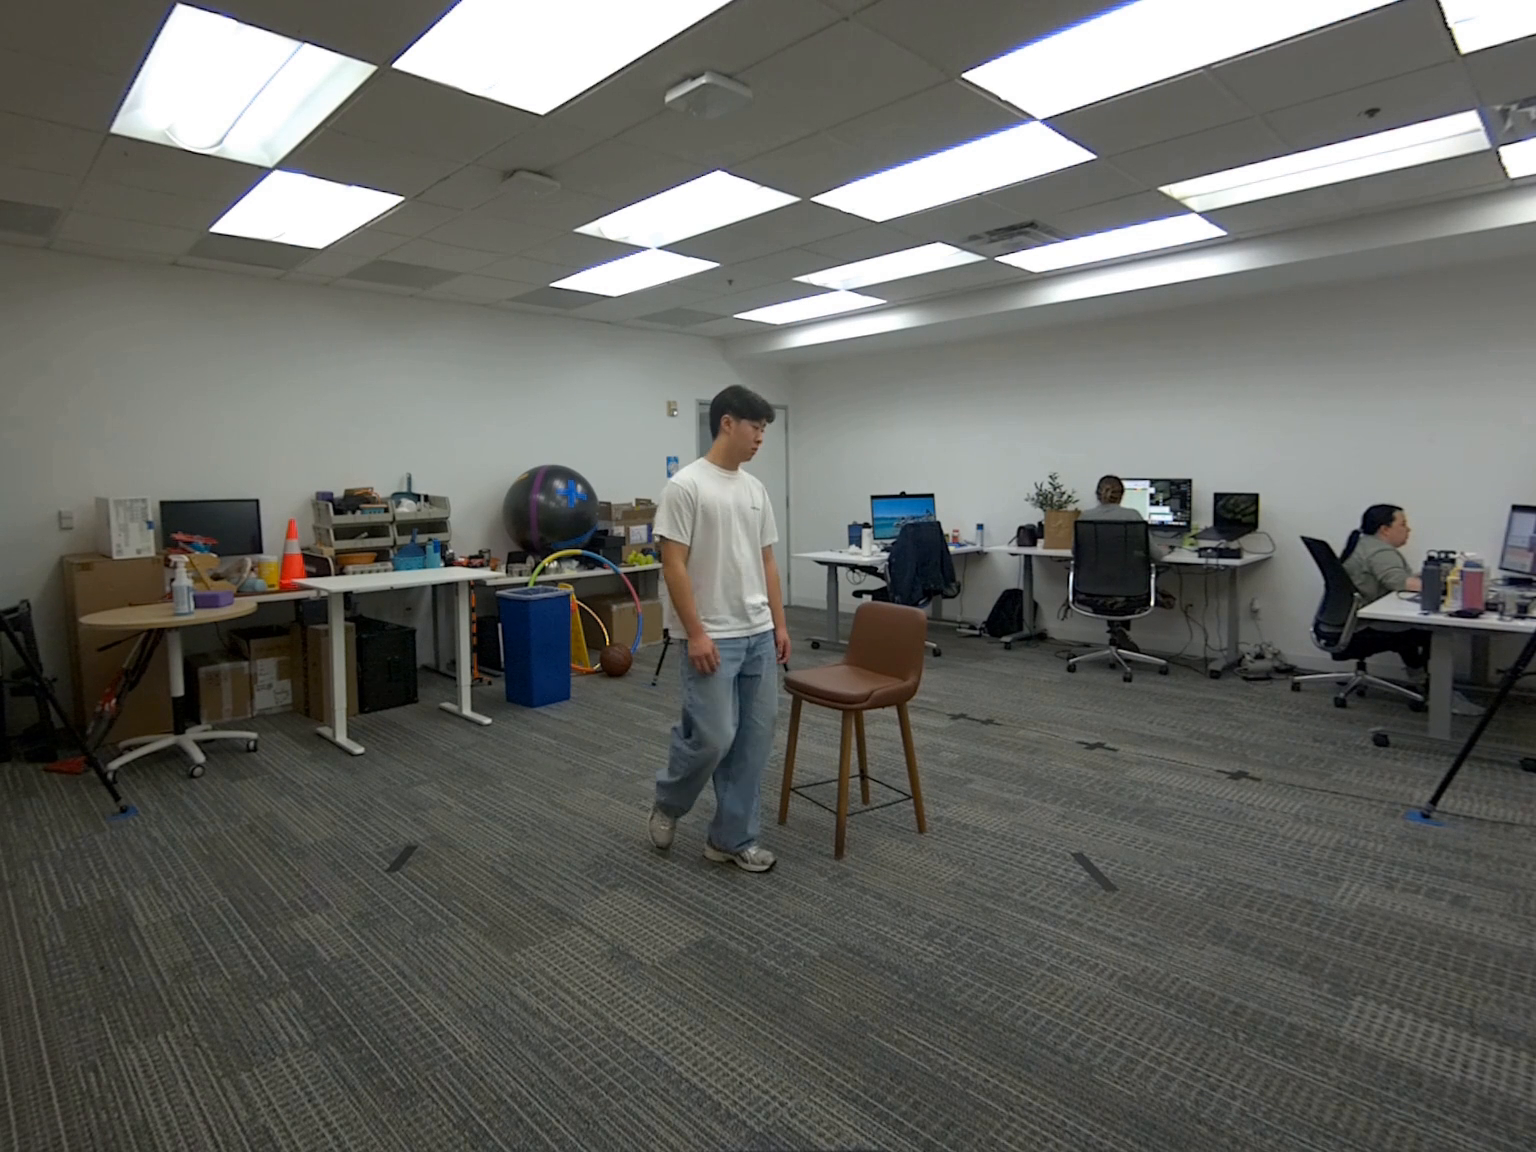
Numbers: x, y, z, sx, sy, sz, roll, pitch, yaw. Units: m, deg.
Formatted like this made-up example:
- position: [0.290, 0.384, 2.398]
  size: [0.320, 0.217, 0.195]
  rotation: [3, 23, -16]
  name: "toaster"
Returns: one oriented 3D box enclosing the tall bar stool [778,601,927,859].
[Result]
- position: [0.331, 0.566, 3.391]
  size: [0.456, 0.888, 0.469]
  rotation: [-1, 3, -31]
  name: "tall bar stool"
